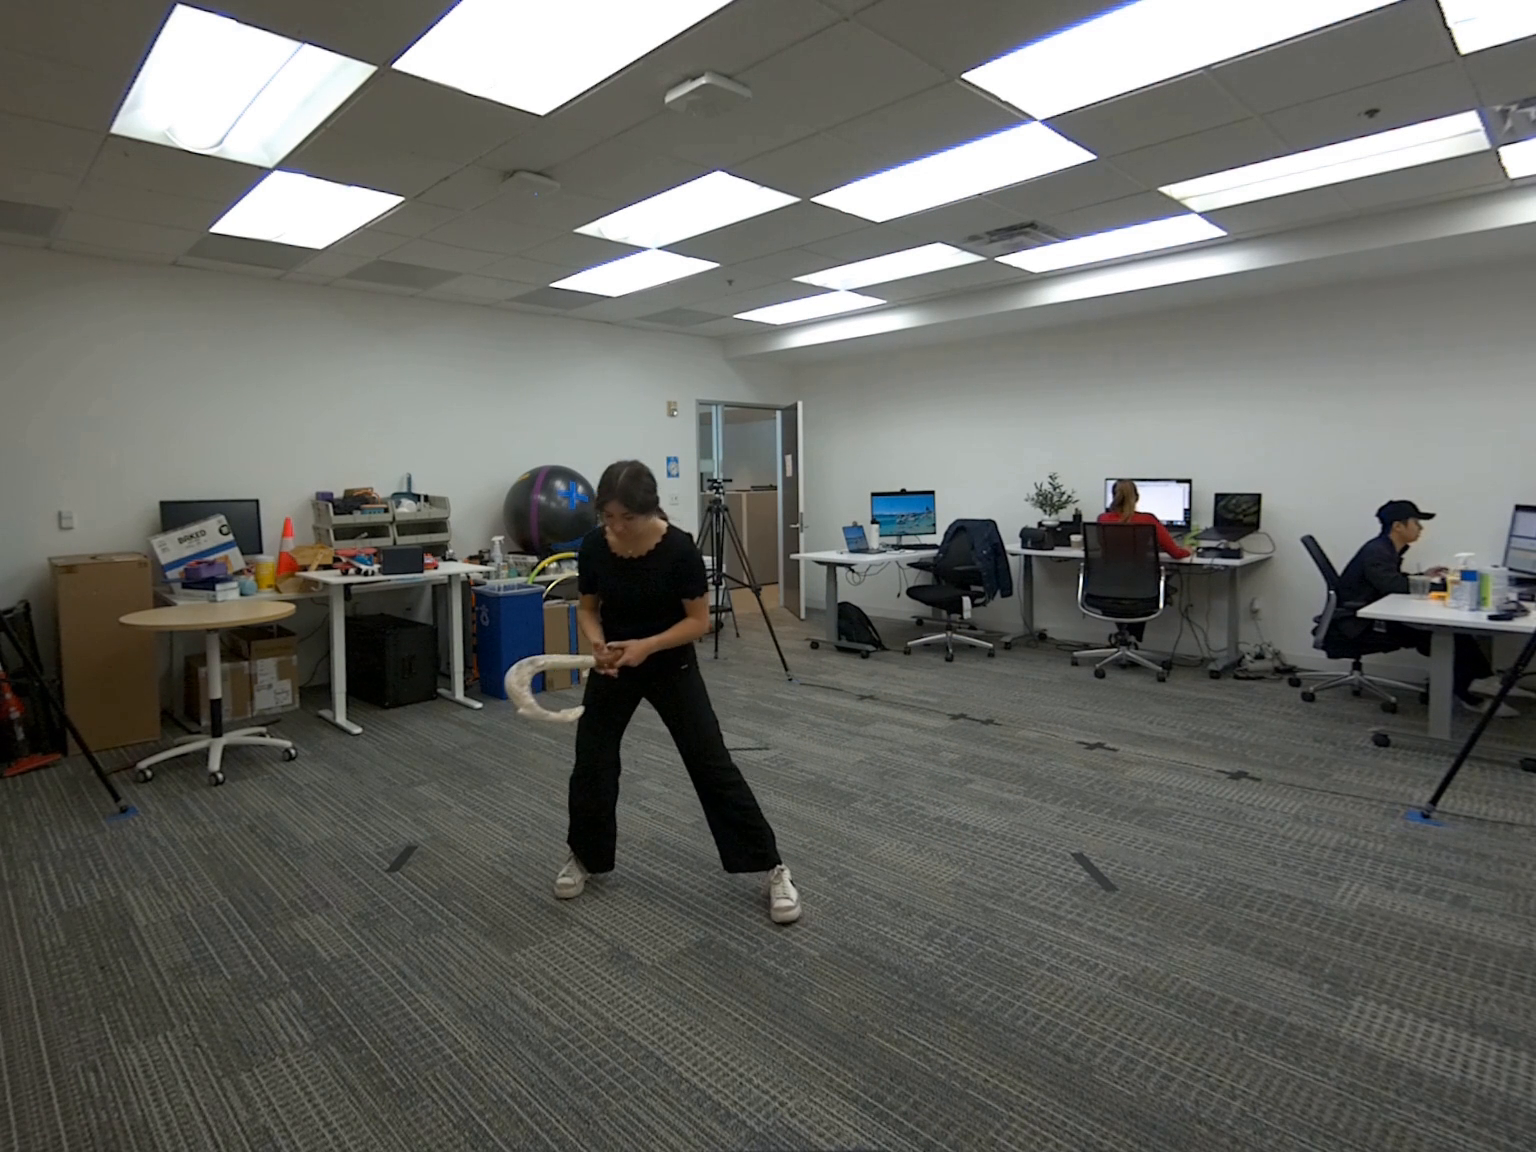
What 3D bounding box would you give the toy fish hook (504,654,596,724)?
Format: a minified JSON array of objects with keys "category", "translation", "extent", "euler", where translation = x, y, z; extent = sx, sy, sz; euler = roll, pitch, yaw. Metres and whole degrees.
[{"category":"toy fish hook","translation":[-0.538,0.315,2.530],"extent":[0.495,0.230,0.048],"euler":[-13,-27,-47]}]
